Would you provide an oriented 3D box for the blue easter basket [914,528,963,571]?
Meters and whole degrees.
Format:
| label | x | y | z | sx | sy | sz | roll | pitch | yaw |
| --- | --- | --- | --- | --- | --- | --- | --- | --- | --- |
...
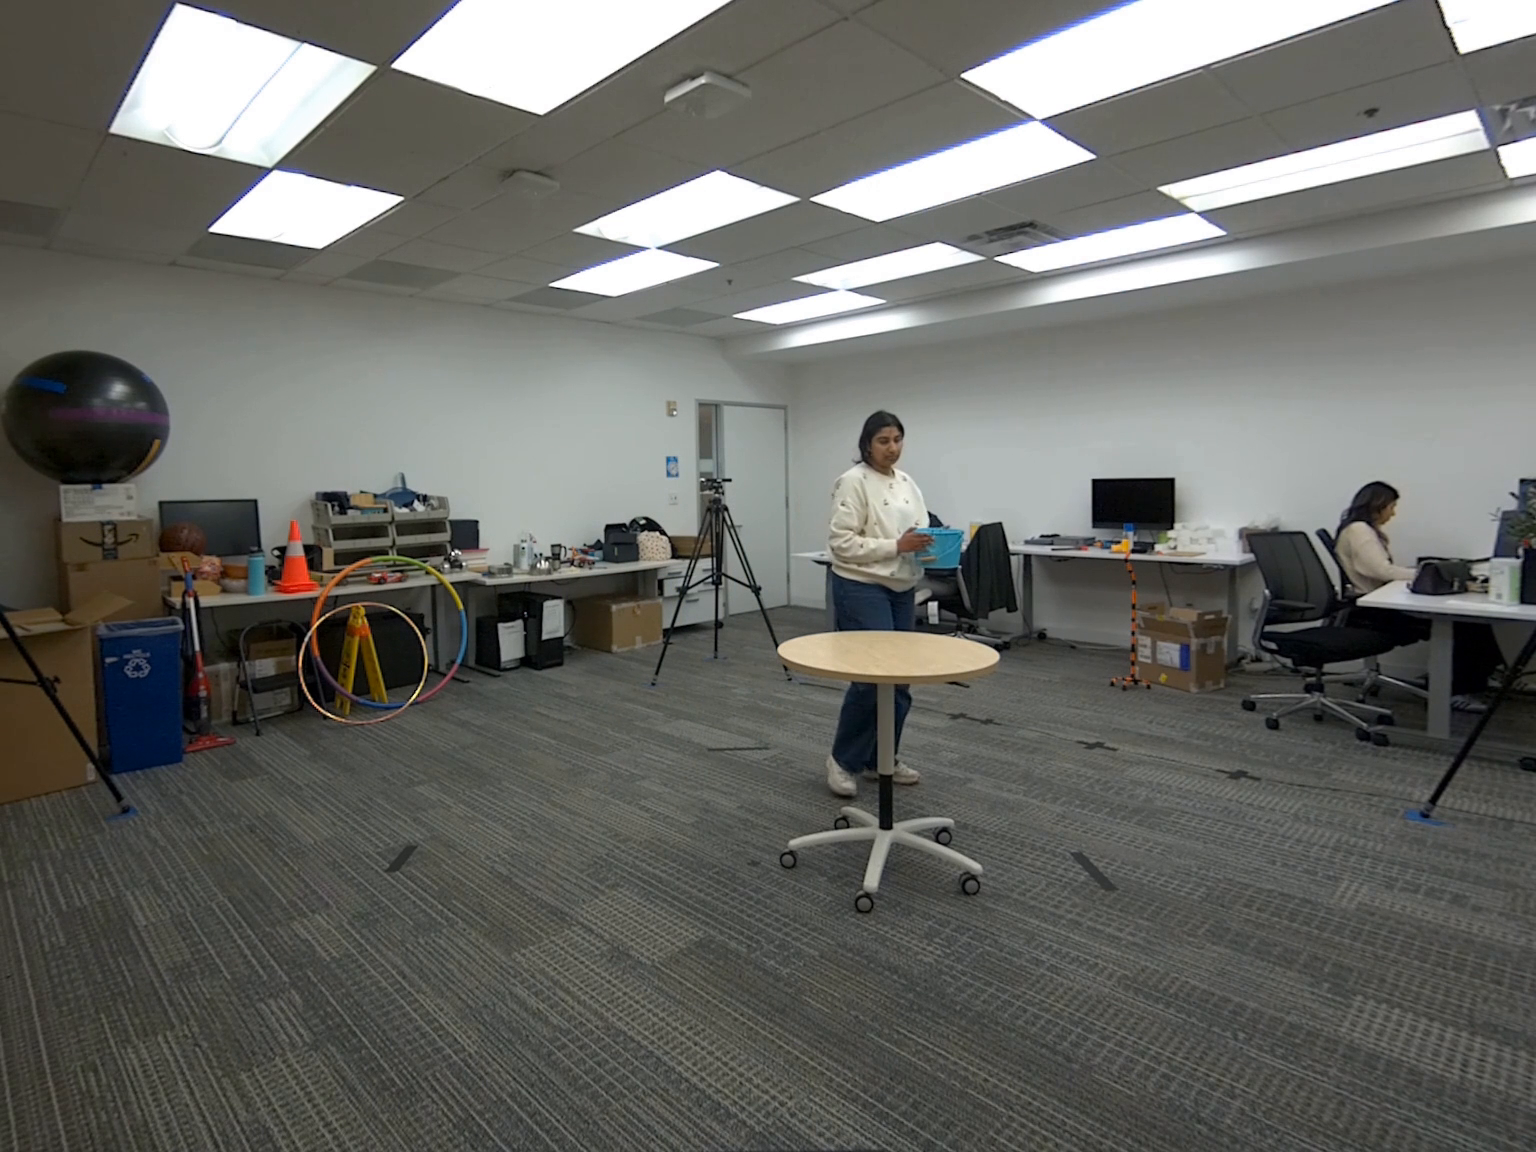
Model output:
| label | x | y | z | sx | sy | sz | roll | pitch | yaw |
| --- | --- | --- | --- | --- | --- | --- | --- | --- | --- |
| blue easter basket | 0.719 | -0.118 | 3.676 | 0.243 | 0.155 | 0.245 | 0 | 6 | -2 |
